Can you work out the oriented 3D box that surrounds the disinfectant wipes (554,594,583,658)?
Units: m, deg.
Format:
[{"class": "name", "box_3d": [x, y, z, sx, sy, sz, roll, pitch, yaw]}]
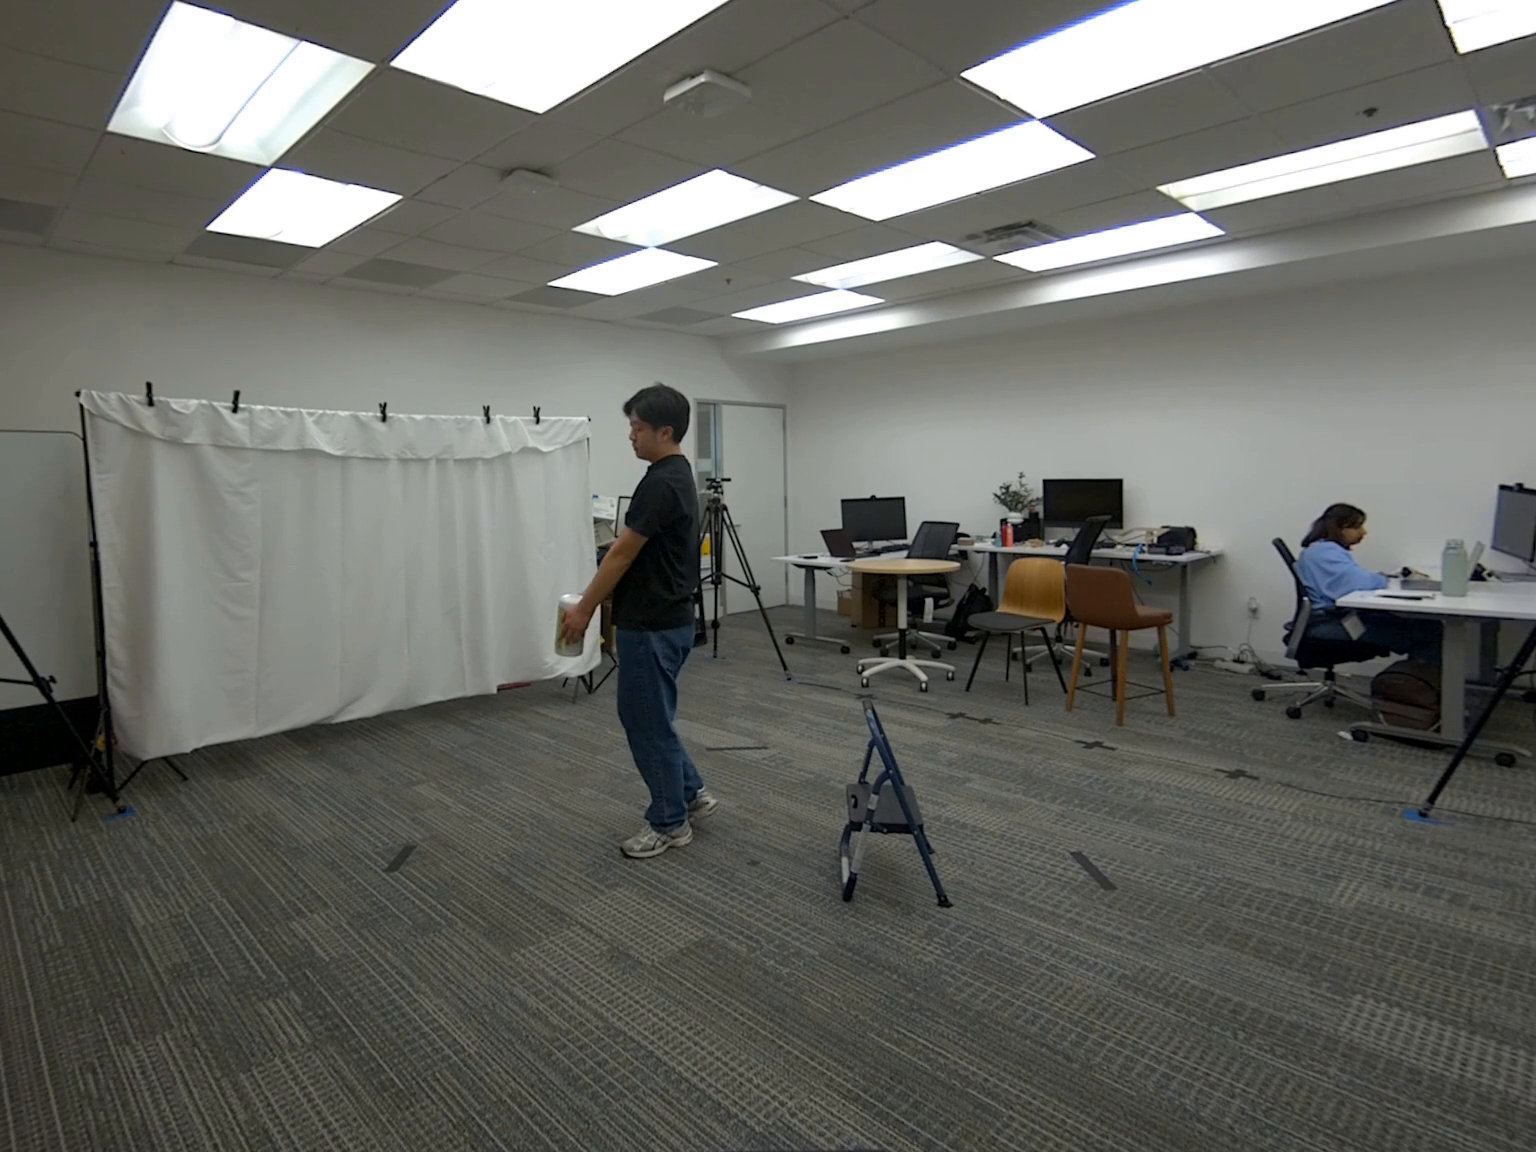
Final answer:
[{"class": "disinfectant wipes", "box_3d": [-0.738, 0.192, 3.223, 0.117, 0.215, 0.119, 7, 14, -4]}]
